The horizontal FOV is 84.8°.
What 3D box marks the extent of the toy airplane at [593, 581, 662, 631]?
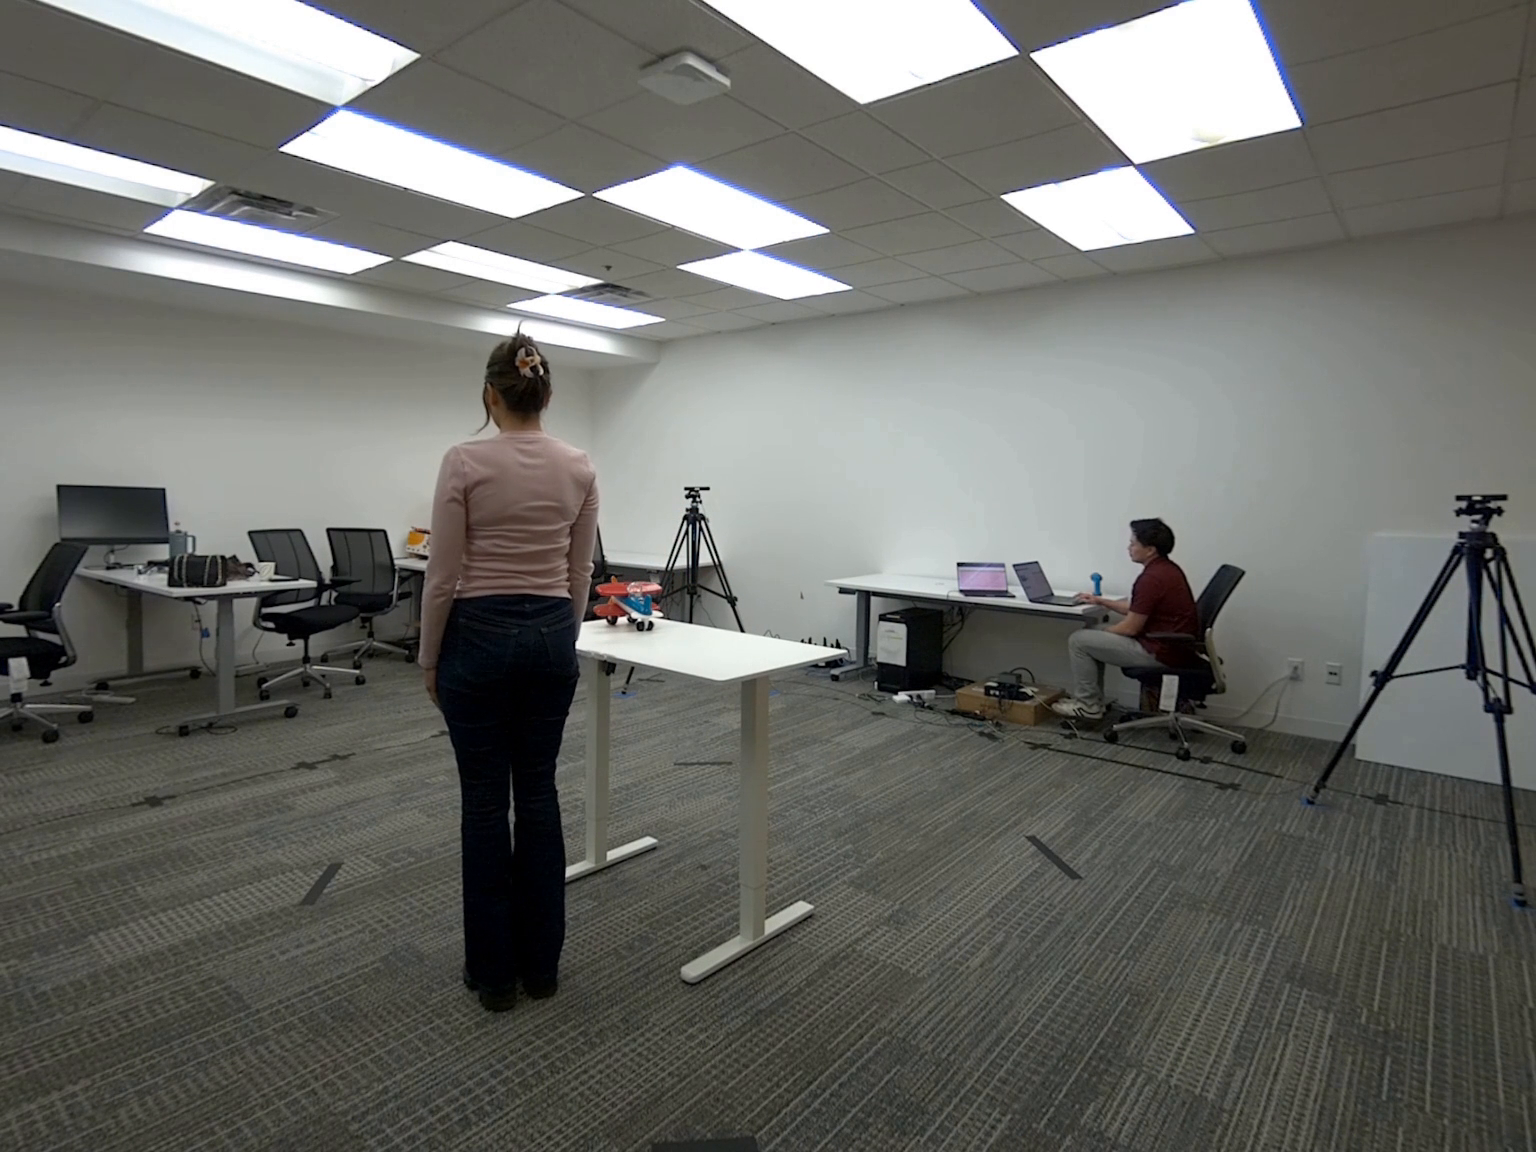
[{"bbox_3d":[-0.491,0.101,3.097,0.266,0.156,0.245,3,6,27],"label":"toy airplane"}]
